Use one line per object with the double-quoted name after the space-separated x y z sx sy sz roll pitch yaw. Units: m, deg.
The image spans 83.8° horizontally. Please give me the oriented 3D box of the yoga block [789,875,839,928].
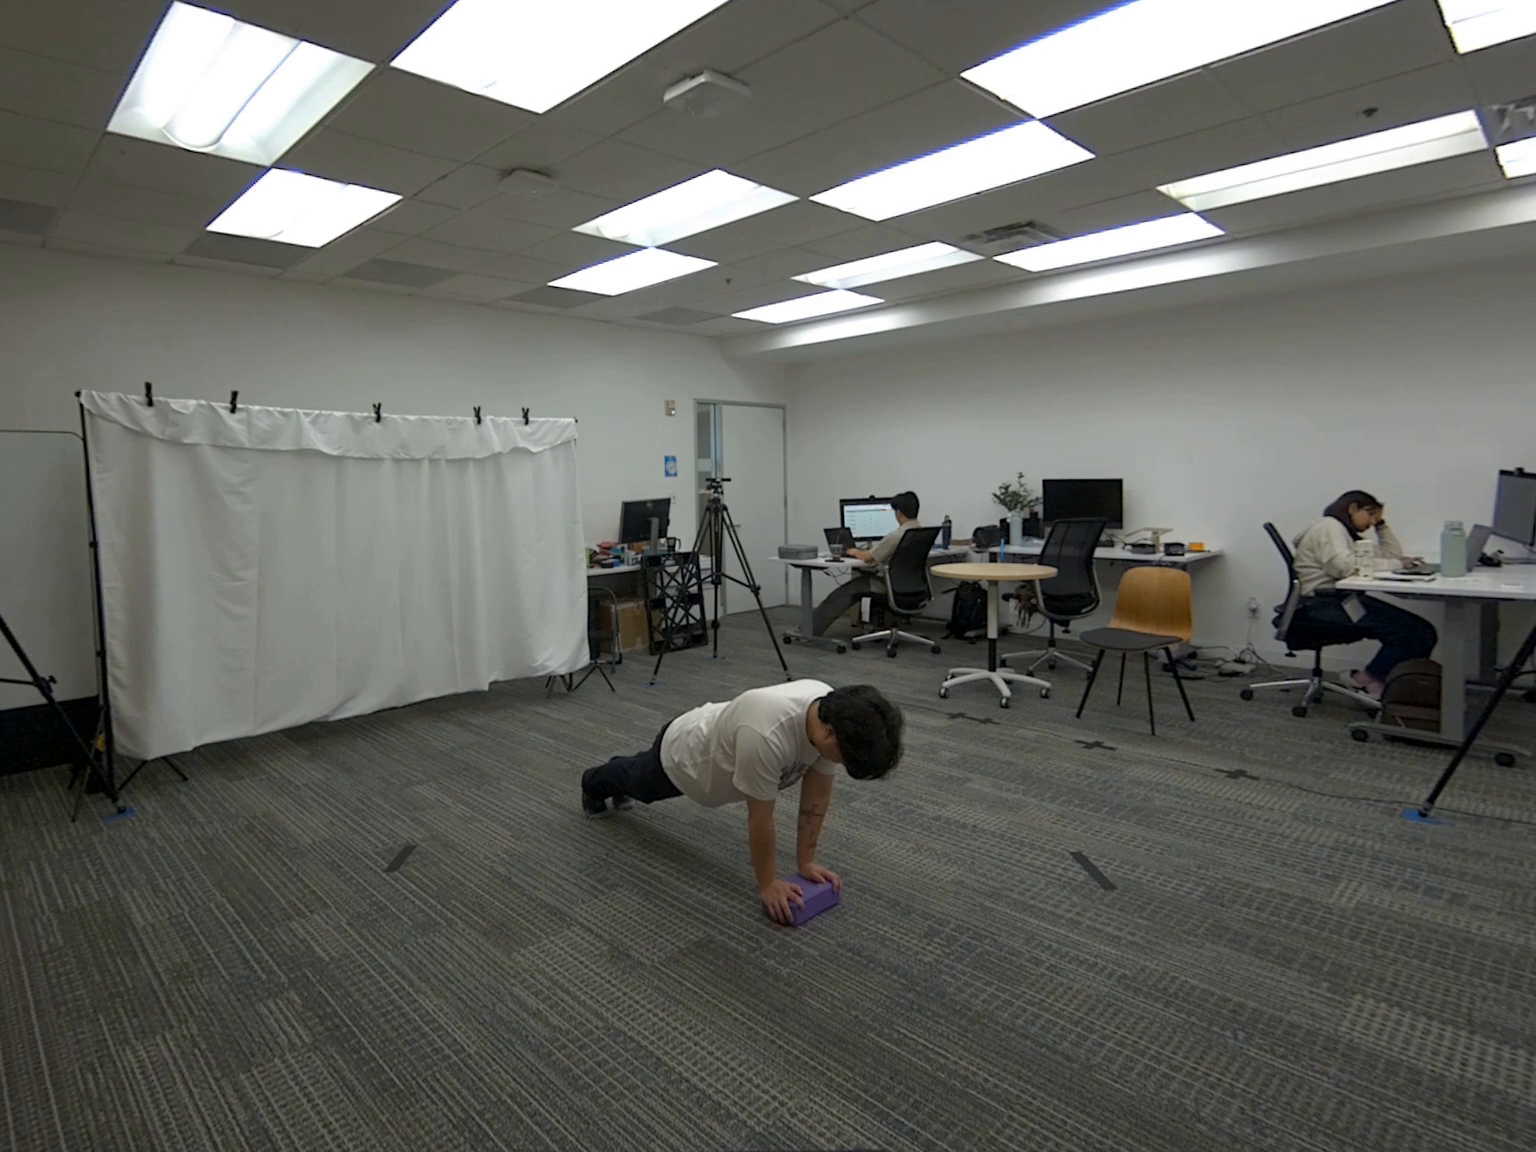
0.111 1.045 2.775 0.154 0.076 0.223 6 9 44 "yoga block"
